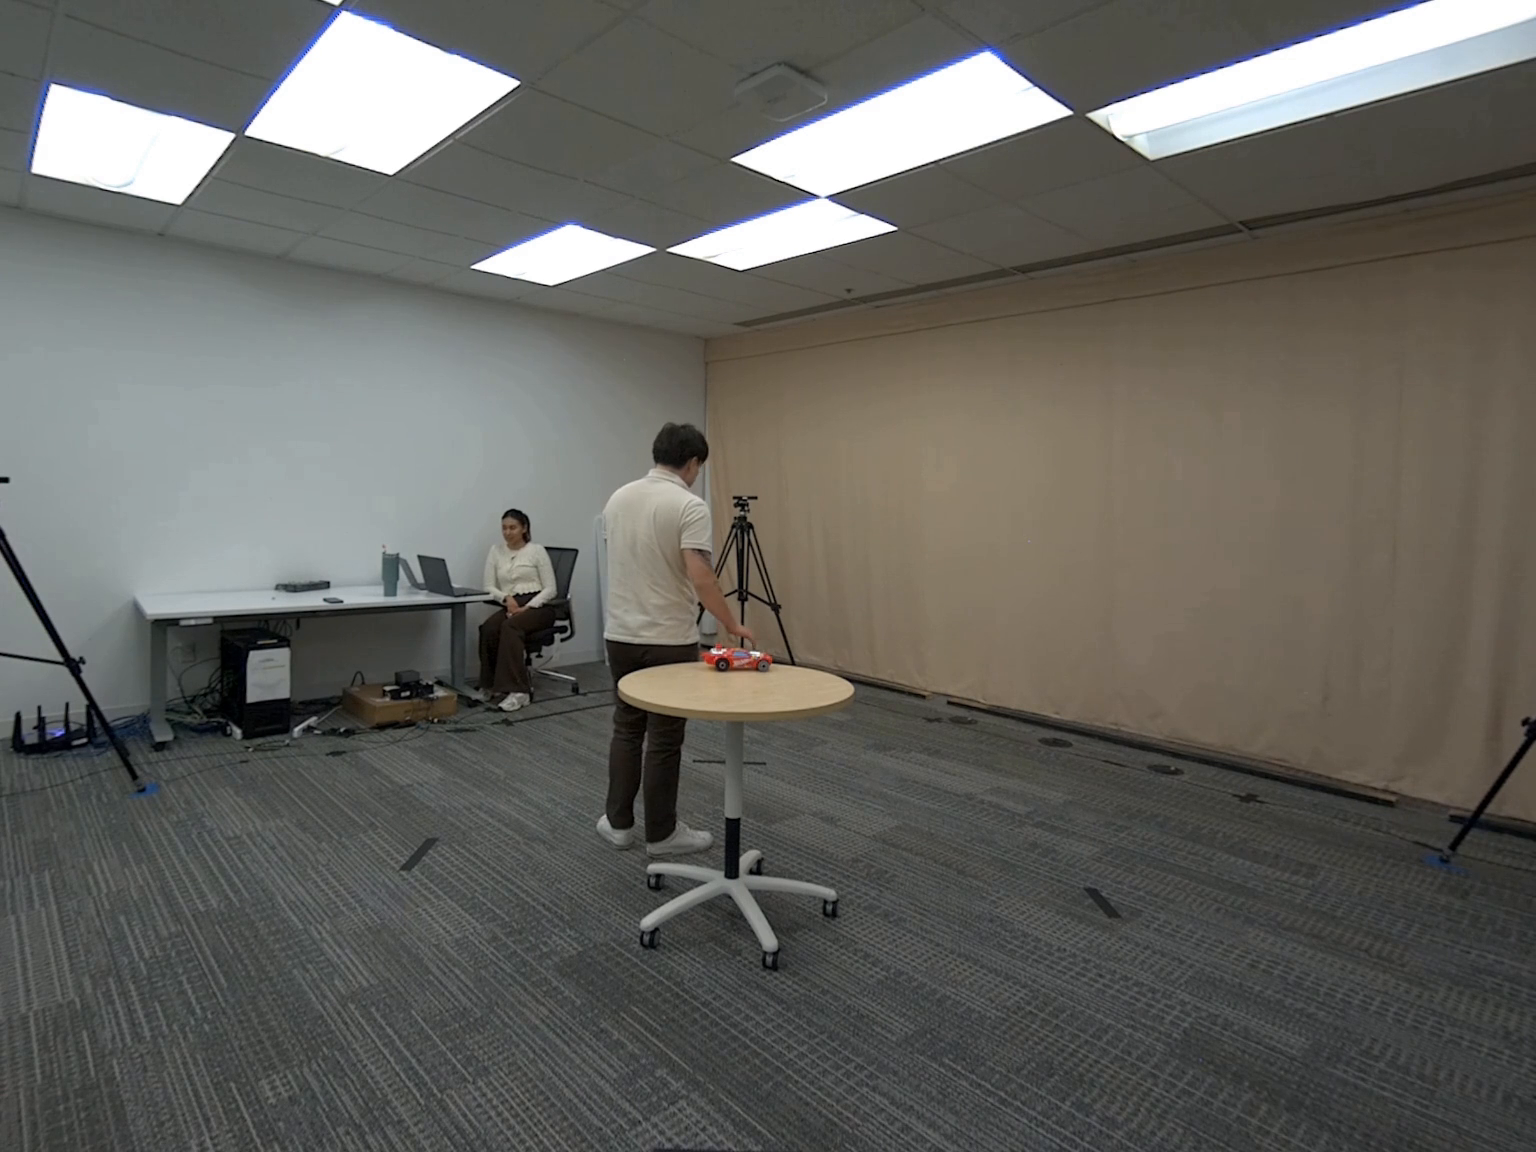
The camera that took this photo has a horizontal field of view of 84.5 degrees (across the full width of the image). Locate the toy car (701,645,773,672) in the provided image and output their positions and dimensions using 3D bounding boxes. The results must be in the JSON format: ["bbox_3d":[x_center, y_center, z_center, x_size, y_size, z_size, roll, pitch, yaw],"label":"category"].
[{"bbox_3d":[-0.125,0.299,2.990,0.253,0.083,0.131,12,2,-7],"label":"toy car"}]
